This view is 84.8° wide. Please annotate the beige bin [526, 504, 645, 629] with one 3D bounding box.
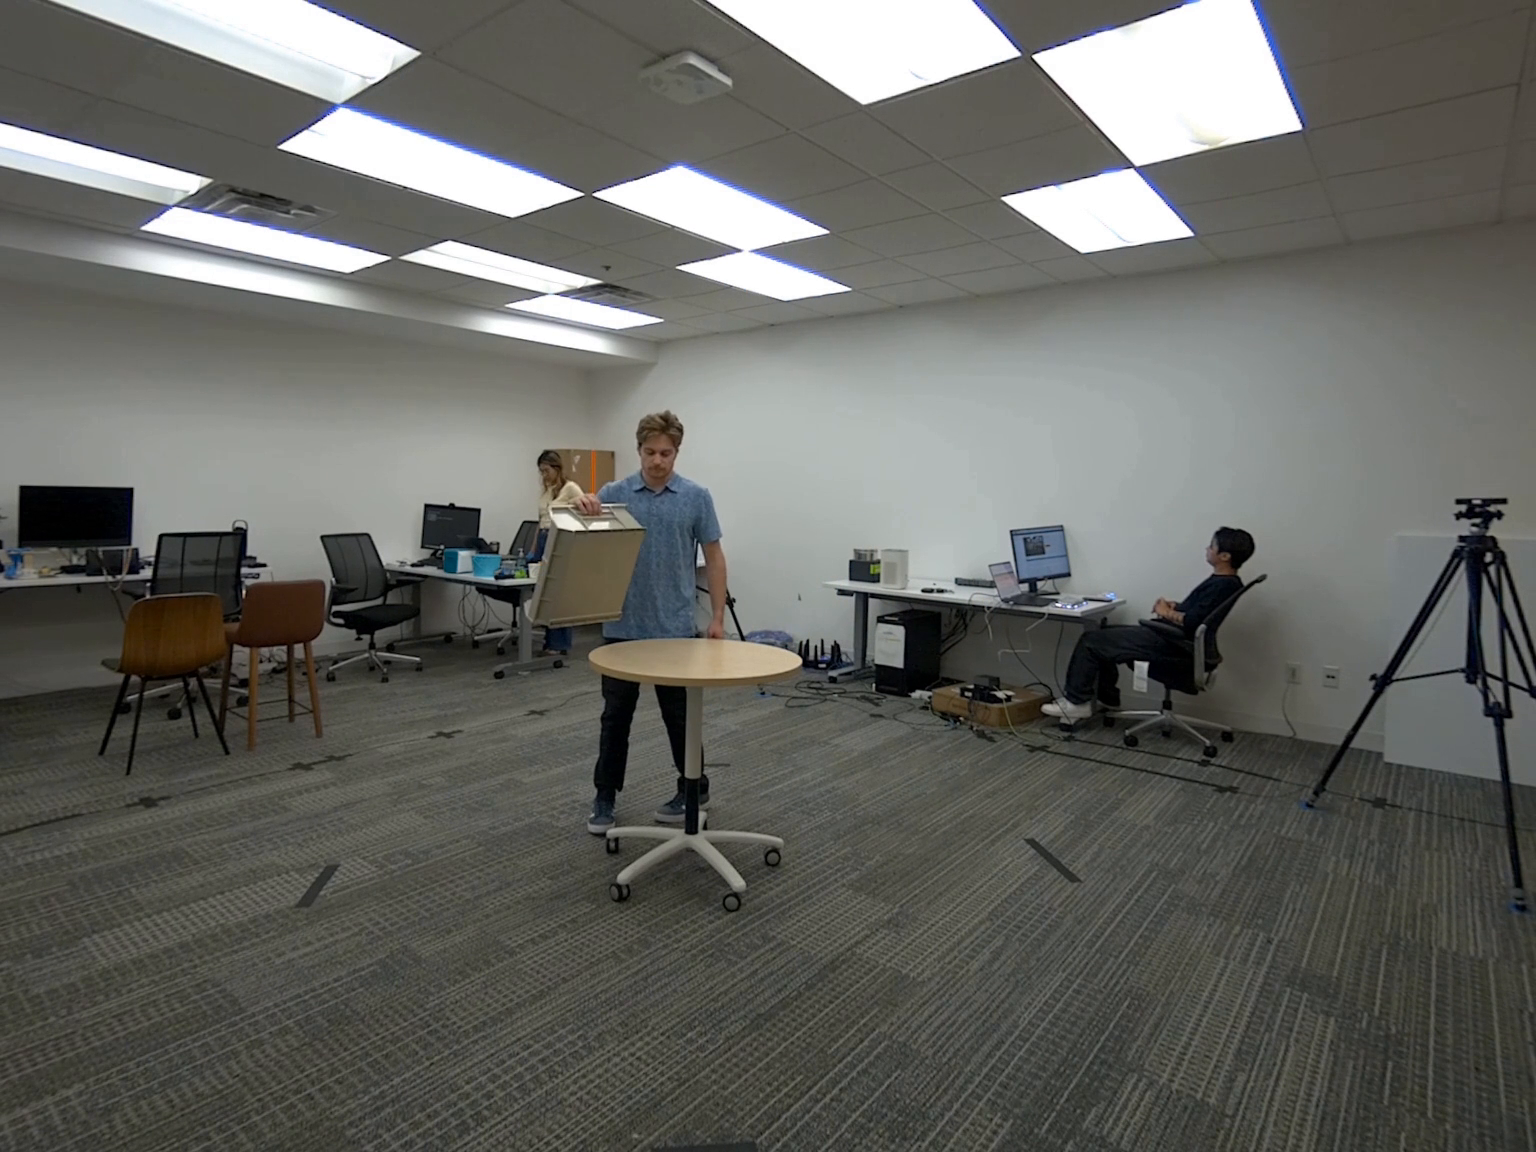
[{"bbox_3d":[-0.710,-0.043,3.194,0.366,0.417,0.197,-3,32,-40],"label":"beige bin"}]
